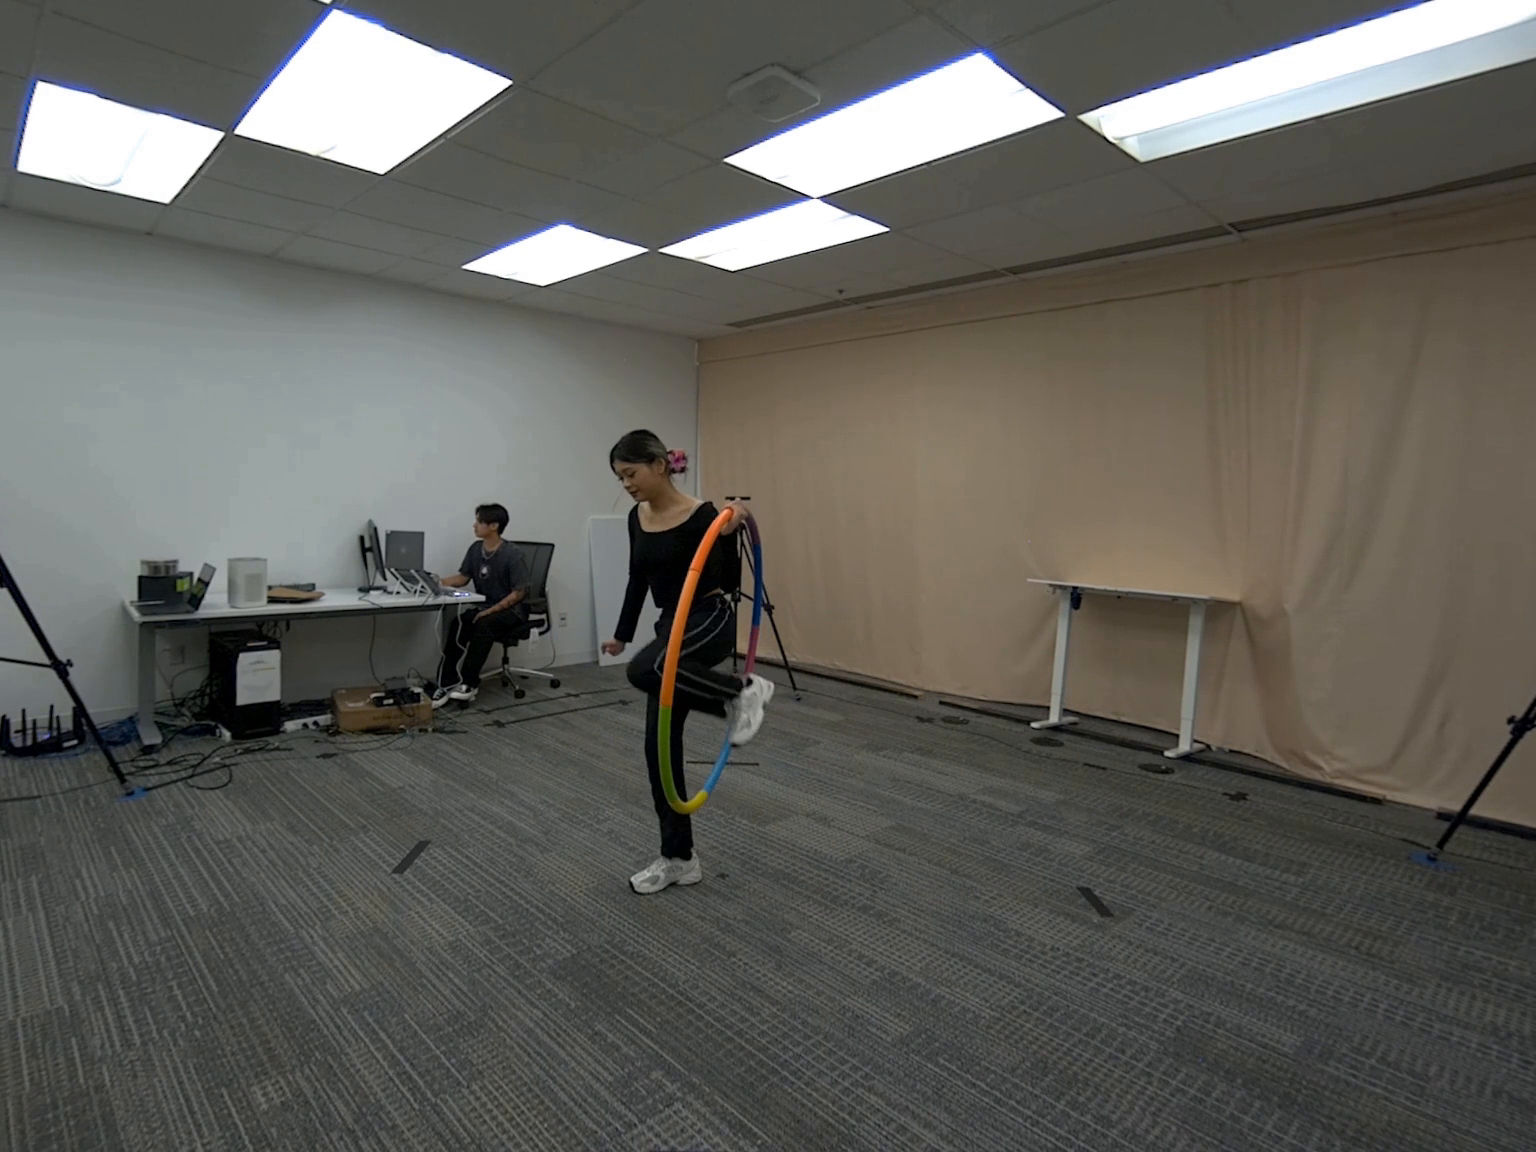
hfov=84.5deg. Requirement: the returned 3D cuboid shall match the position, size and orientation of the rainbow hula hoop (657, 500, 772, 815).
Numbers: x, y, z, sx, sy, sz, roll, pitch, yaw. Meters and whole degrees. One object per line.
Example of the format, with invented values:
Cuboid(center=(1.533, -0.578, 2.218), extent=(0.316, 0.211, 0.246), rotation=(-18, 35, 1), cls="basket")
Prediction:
Cuboid(center=(-0.167, 0.260, 2.716), extent=(0.036, 0.975, 0.970), rotation=(9, 6, 12), cls="rainbow hula hoop")
